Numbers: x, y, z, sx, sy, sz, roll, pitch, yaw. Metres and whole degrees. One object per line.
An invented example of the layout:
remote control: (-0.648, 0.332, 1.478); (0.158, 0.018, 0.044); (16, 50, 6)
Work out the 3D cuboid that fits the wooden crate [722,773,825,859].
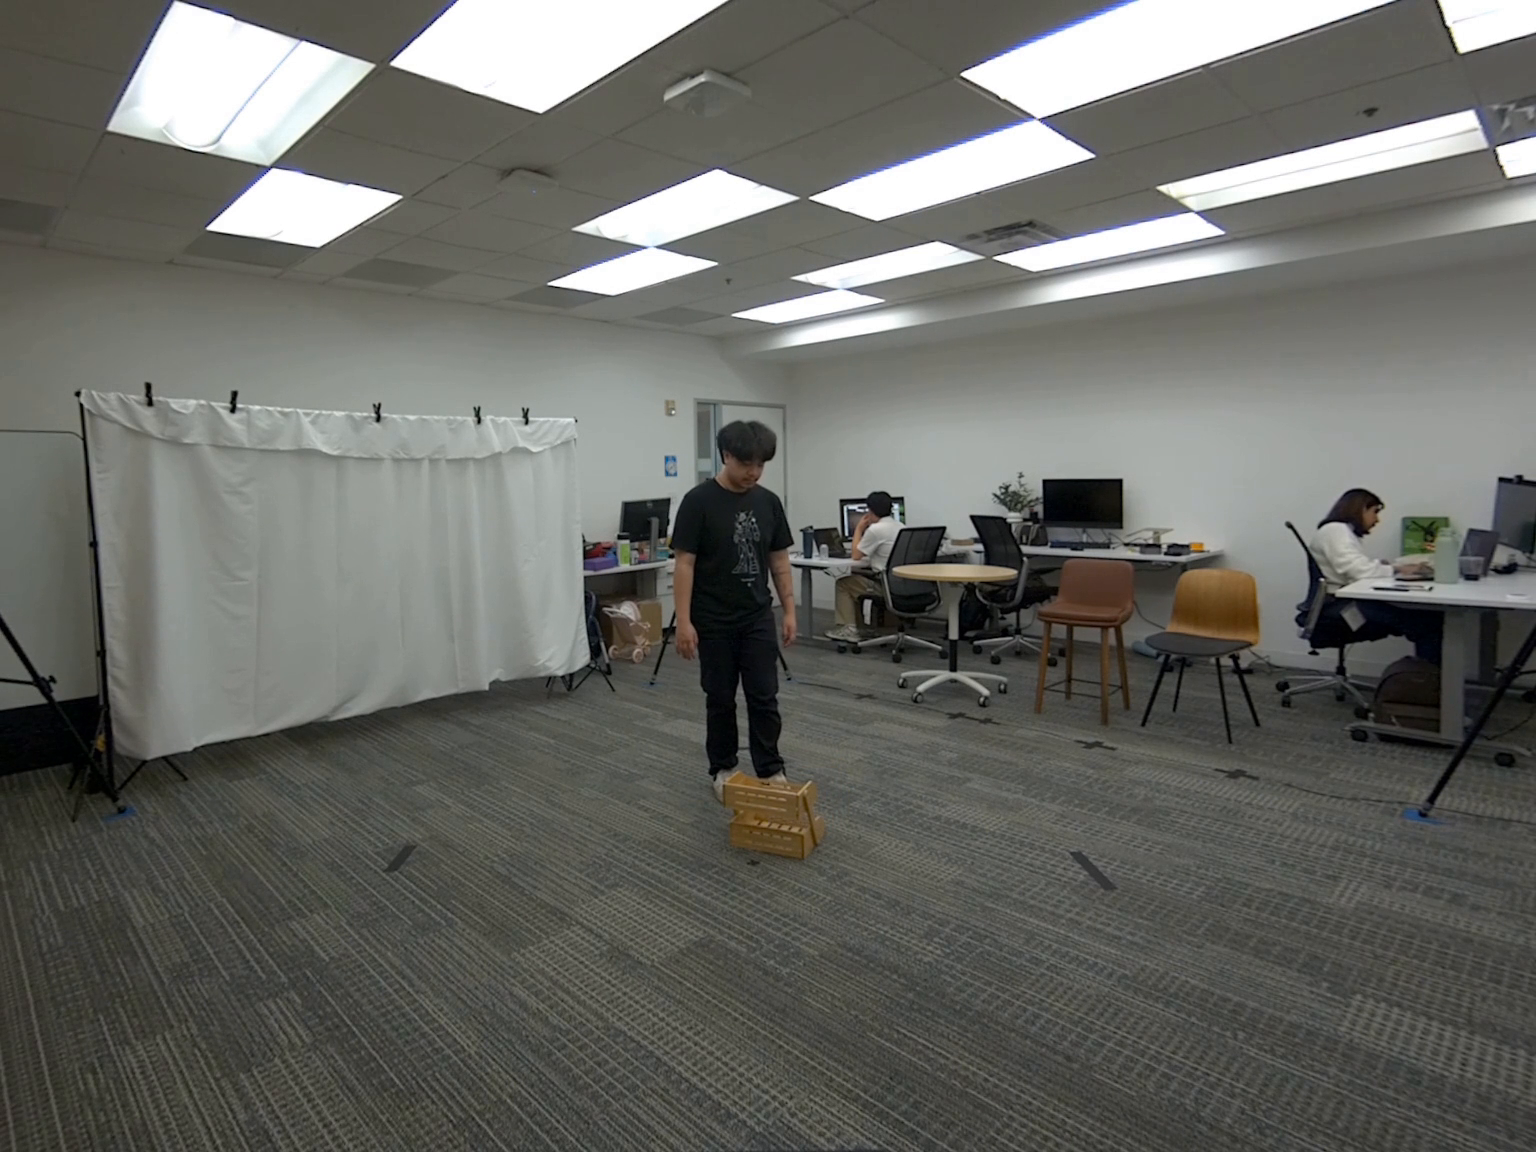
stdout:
wooden crate: (0.032, 0.894, 3.281); (0.332, 0.272, 0.297); (1, 6, 23)
